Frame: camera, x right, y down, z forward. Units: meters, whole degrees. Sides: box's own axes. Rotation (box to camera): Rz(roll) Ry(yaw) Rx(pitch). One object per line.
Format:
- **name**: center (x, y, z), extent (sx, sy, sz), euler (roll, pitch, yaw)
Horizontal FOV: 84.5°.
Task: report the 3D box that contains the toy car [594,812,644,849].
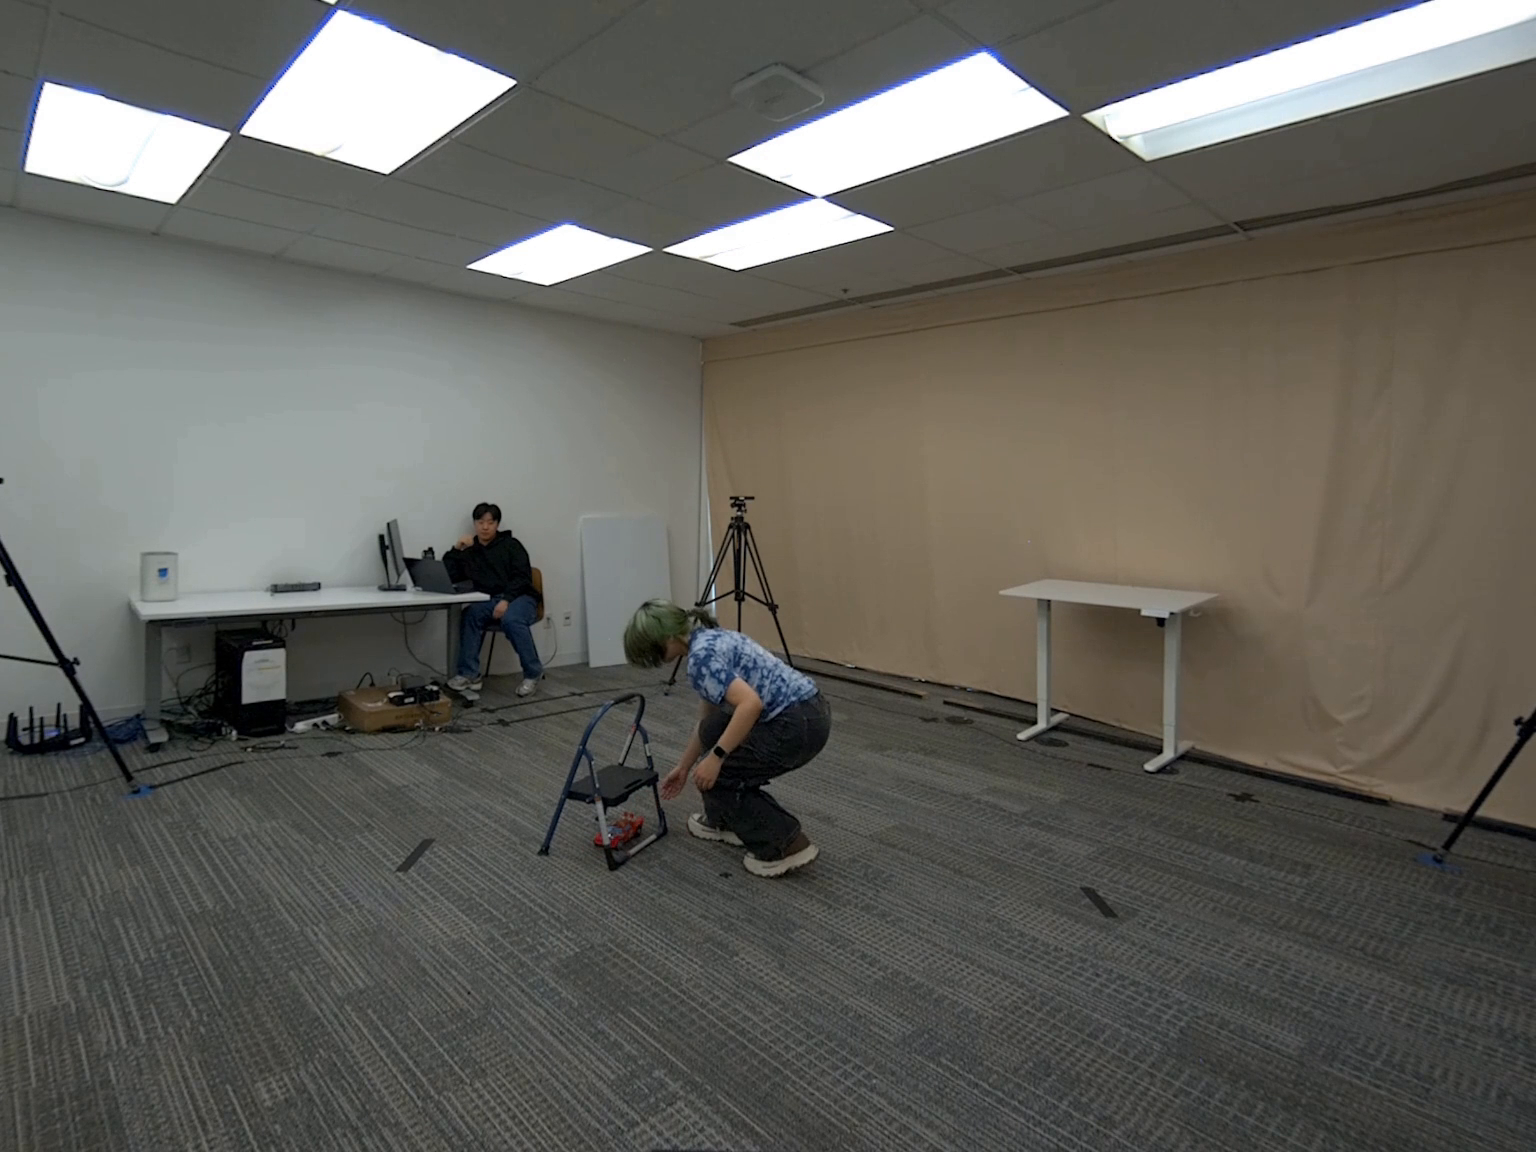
- **toy car**: center (-0.603, 1.035, 3.401), extent (0.132, 0.082, 0.253), euler (1, 15, 23)
